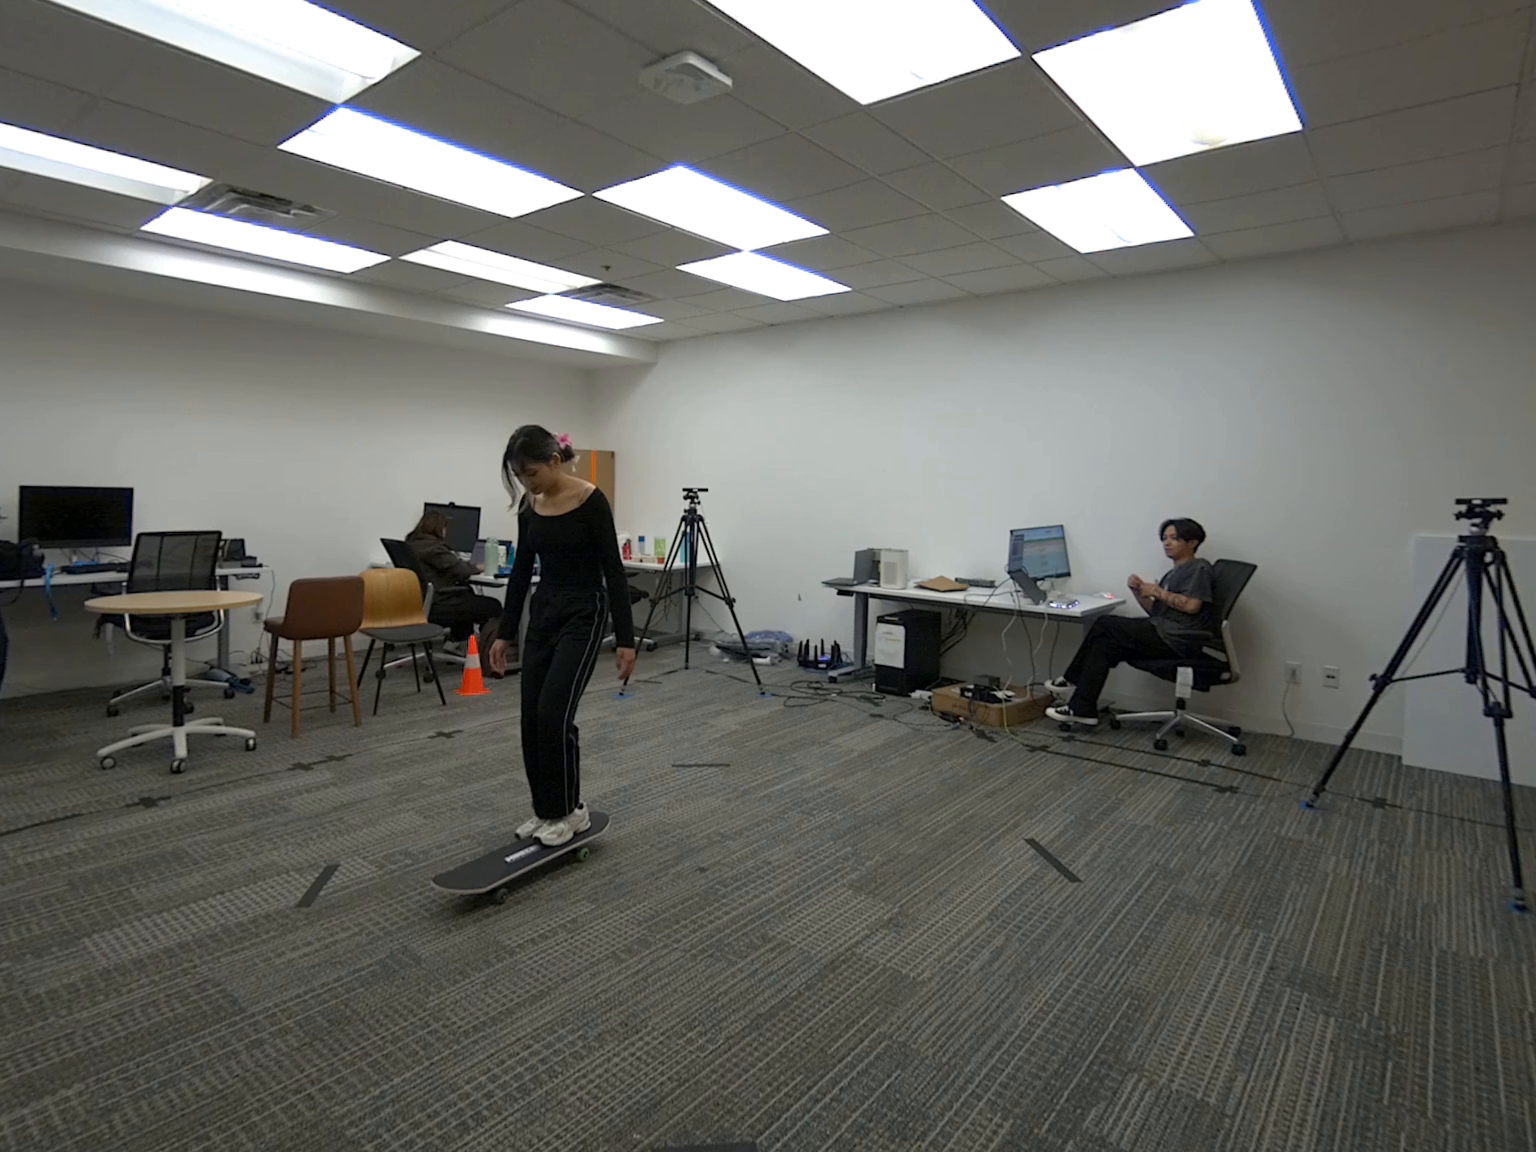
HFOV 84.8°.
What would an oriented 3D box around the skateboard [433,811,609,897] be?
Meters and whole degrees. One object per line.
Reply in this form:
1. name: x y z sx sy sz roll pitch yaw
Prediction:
1. skateboard: -0.867 1.018 3.038 0.199 0.110 0.764 4 6 32
